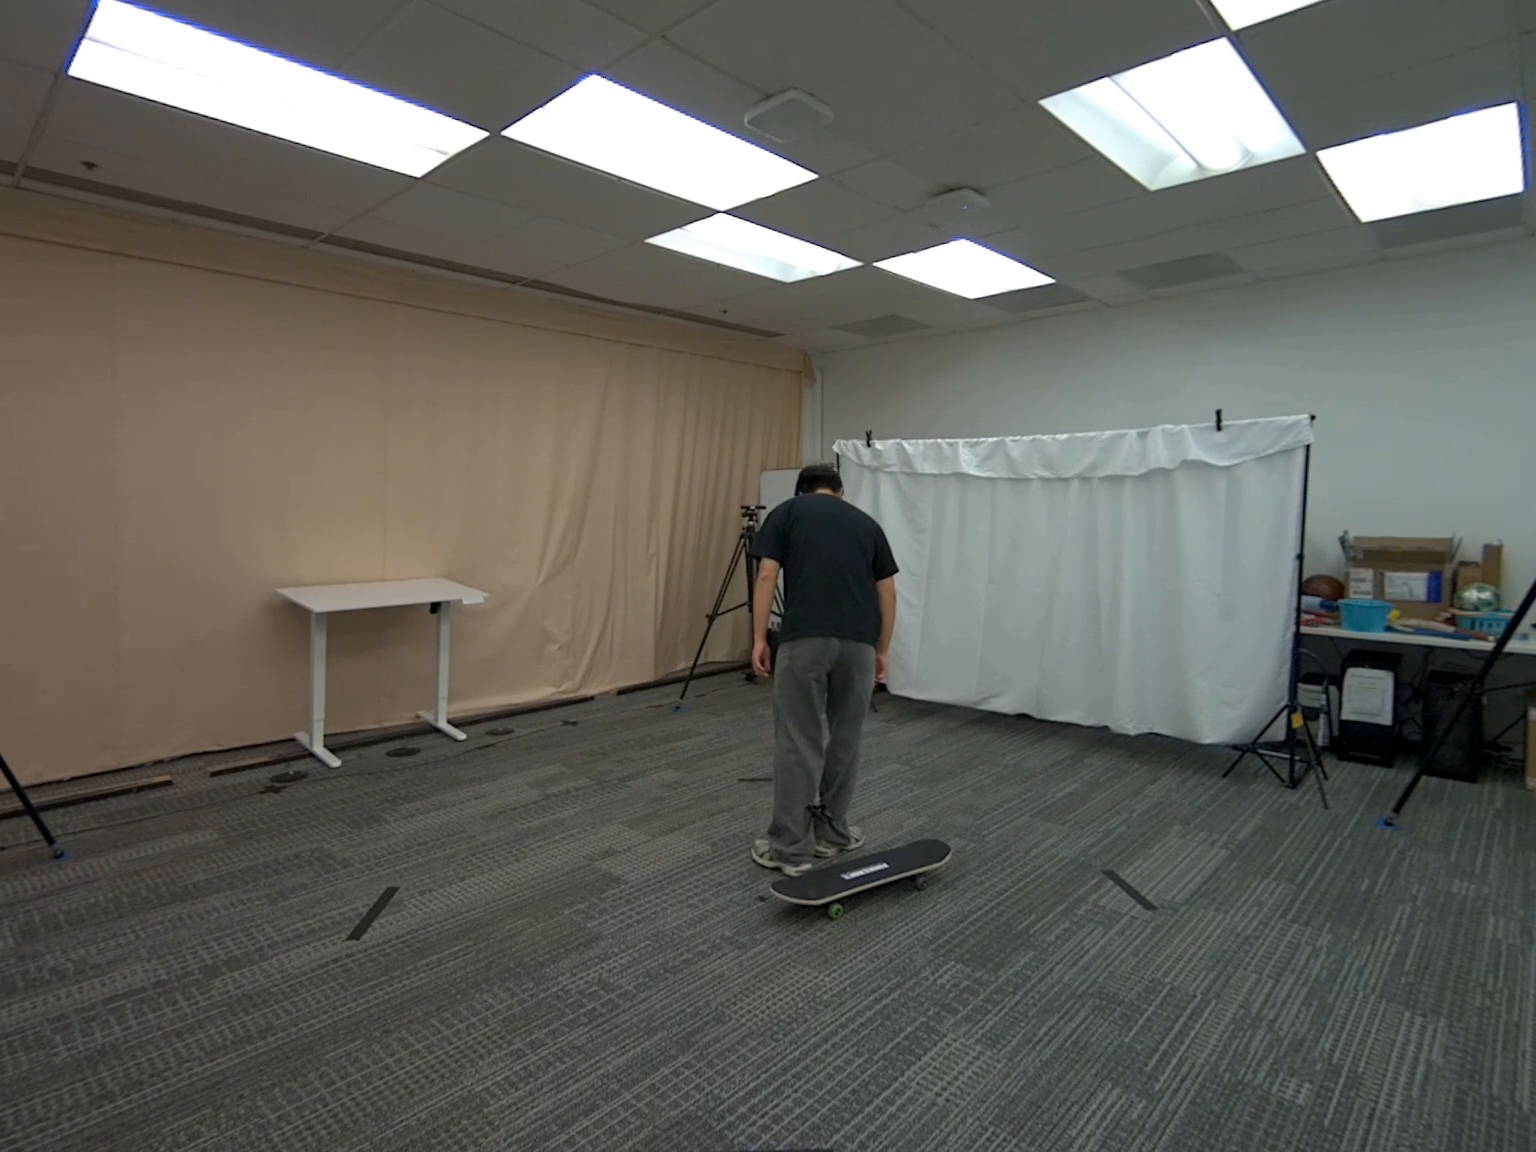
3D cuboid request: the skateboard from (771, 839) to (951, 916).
[{"bbox_3d":[0.350,1.083,3.010,0.764,0.110,0.199,-4,6,-32],"label":"skateboard"}]
